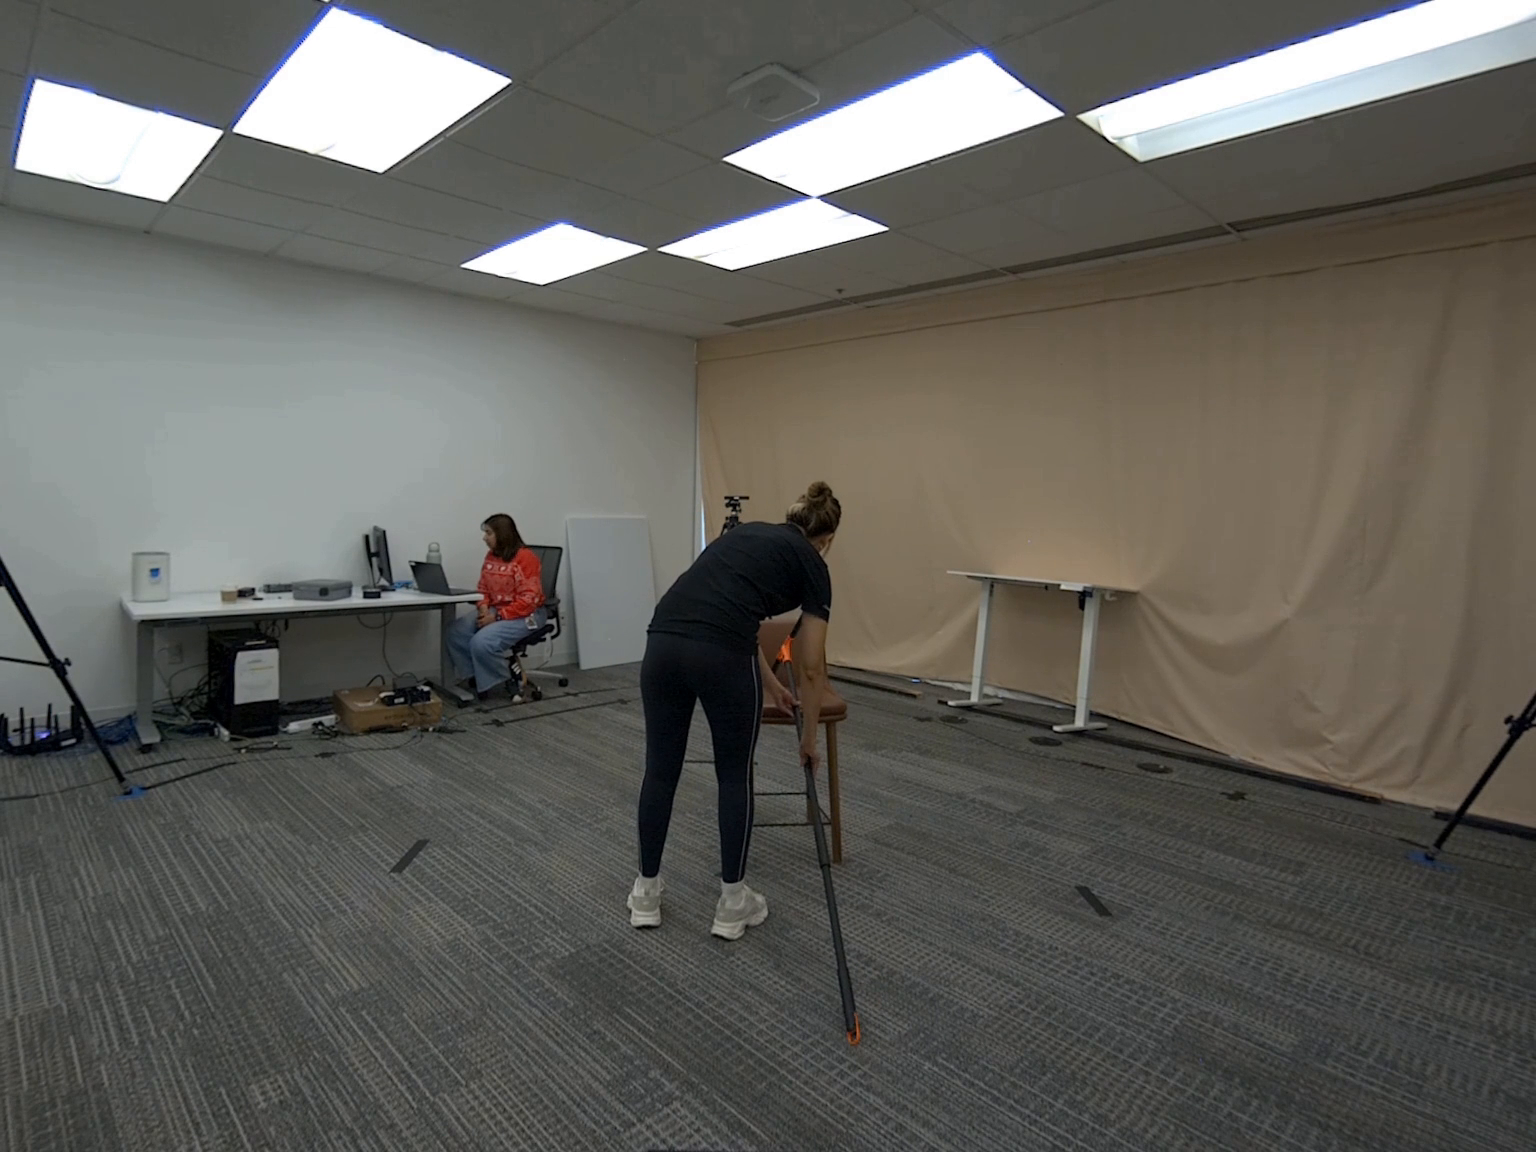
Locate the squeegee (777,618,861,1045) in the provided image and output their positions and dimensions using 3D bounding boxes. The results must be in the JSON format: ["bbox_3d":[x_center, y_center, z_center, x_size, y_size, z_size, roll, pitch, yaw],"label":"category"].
[{"bbox_3d":[0.151,0.734,2.777,0.053,0.426,1.574,-15,35,4],"label":"squeegee"}]
